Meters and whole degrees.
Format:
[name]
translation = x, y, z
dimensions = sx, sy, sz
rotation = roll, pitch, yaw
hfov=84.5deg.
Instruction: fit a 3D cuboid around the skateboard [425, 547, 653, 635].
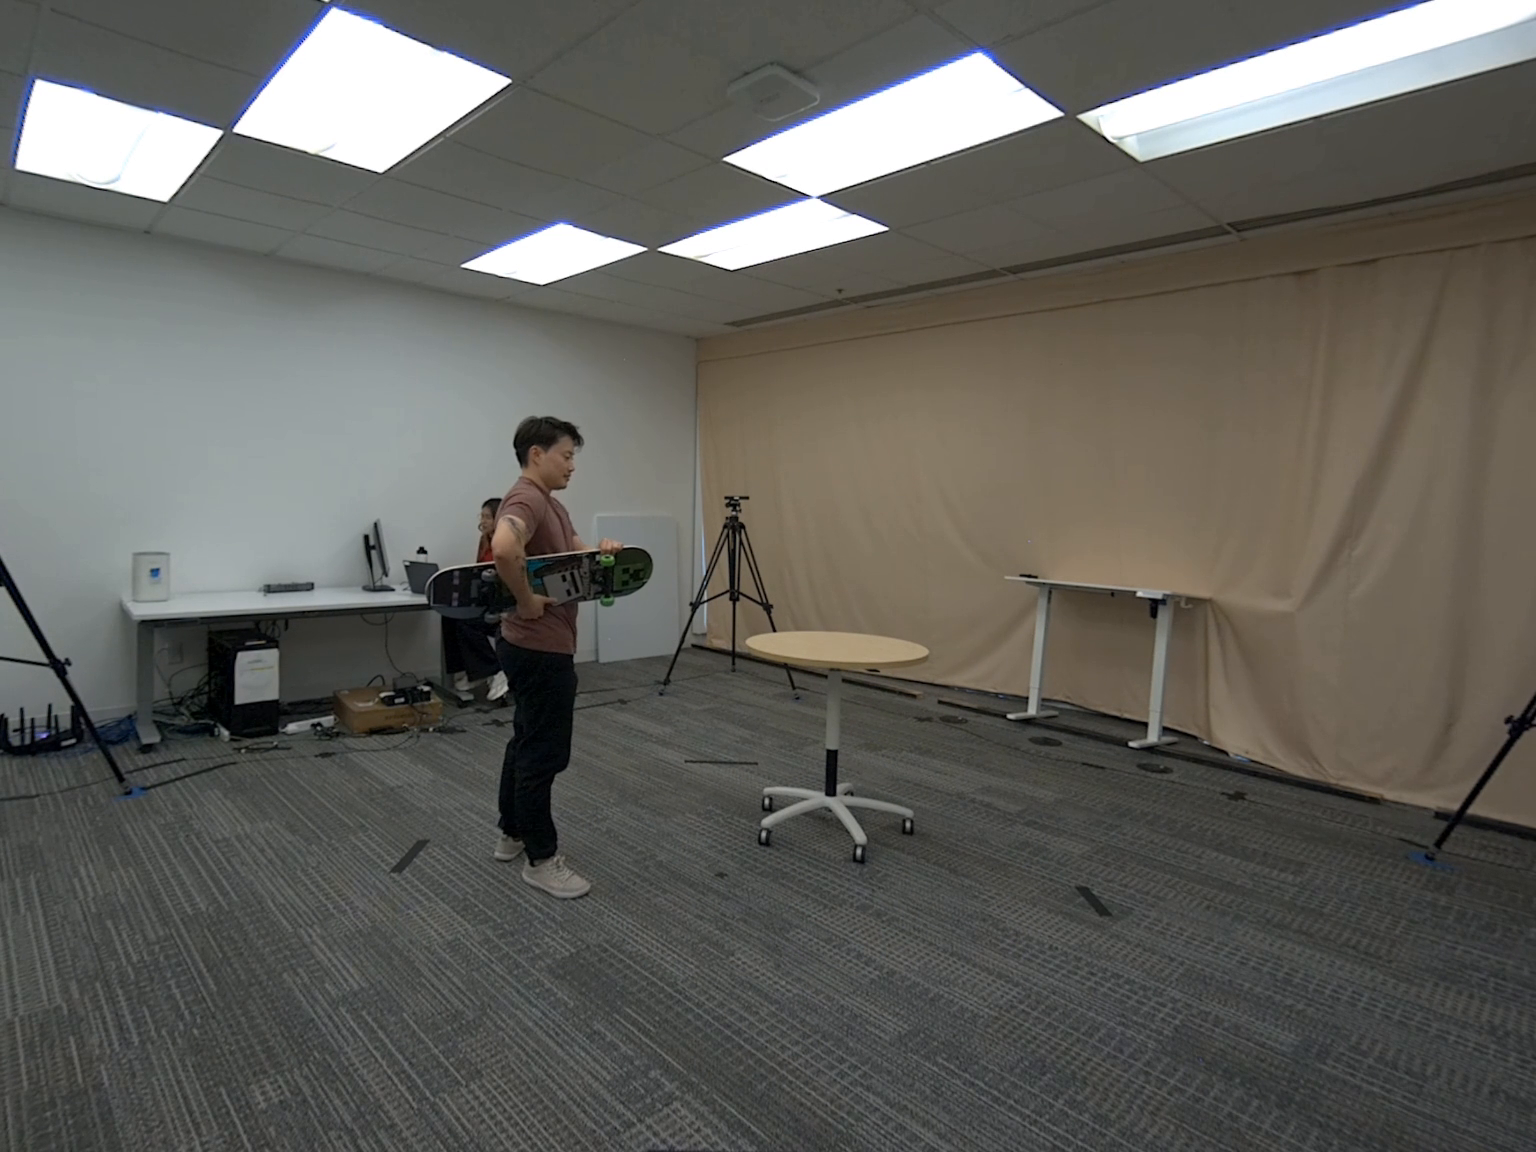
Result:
[skateboard]
translation = -0.763, 0.027, 2.889
dimensions = 0.774, 0.191, 0.113
rotation = -9, 24, -24
